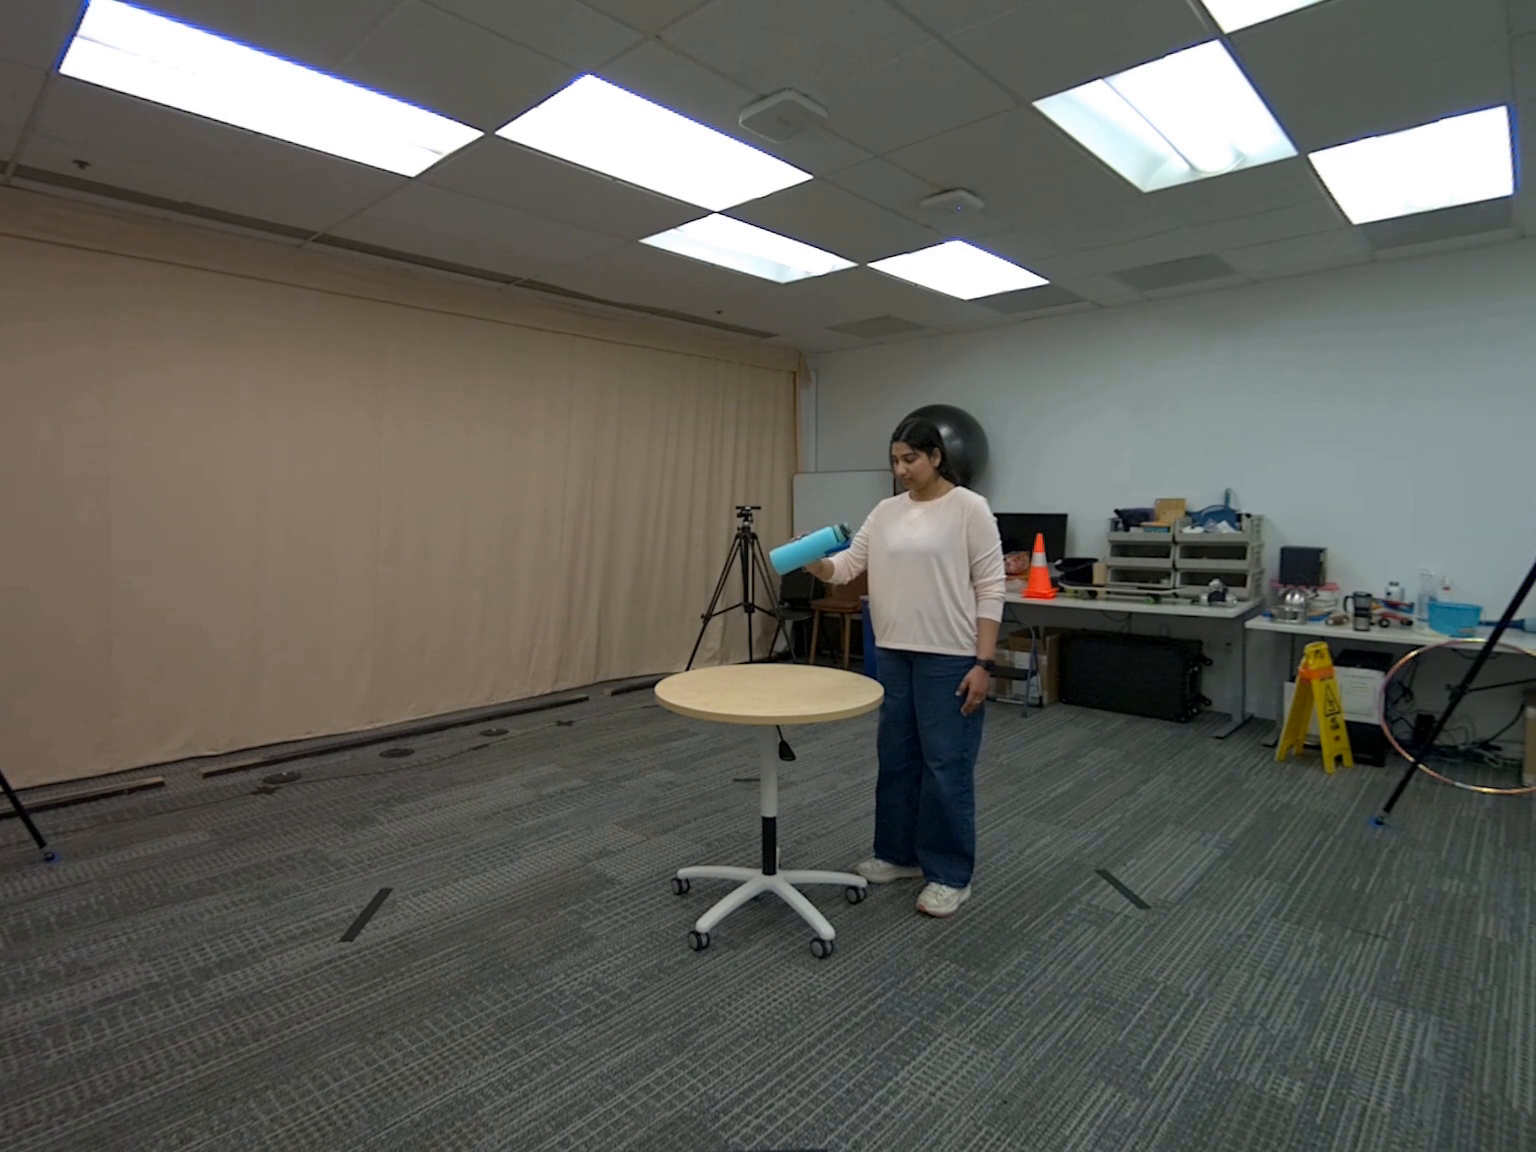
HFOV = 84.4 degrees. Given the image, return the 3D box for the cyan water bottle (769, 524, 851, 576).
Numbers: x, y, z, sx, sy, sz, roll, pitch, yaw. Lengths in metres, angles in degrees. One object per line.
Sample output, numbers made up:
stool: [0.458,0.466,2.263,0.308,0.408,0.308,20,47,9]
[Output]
cyan water bottle: [0.157,-0.091,2.824,0.285,0.092,0.091,-23,0,10]
